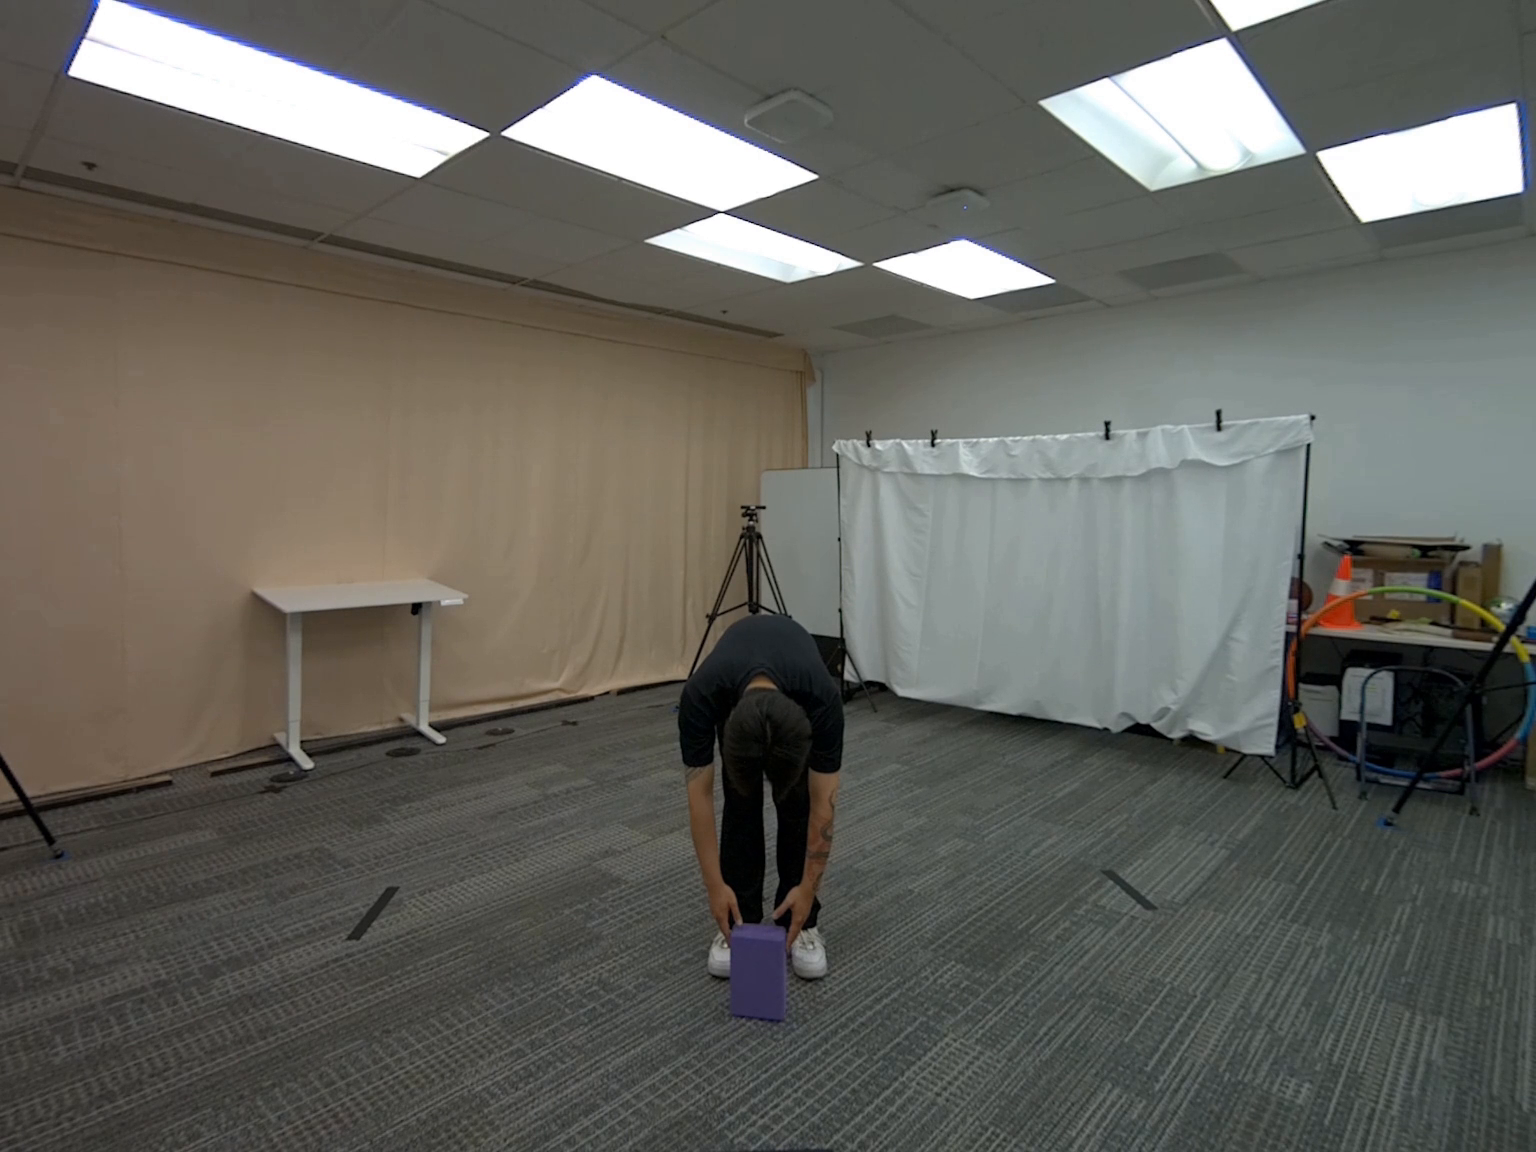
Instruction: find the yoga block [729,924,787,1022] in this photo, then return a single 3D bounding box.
[{"bbox_3d":[-0.026,1.082,2.311,0.150,0.229,0.076,0,4,9],"label":"yoga block"}]
